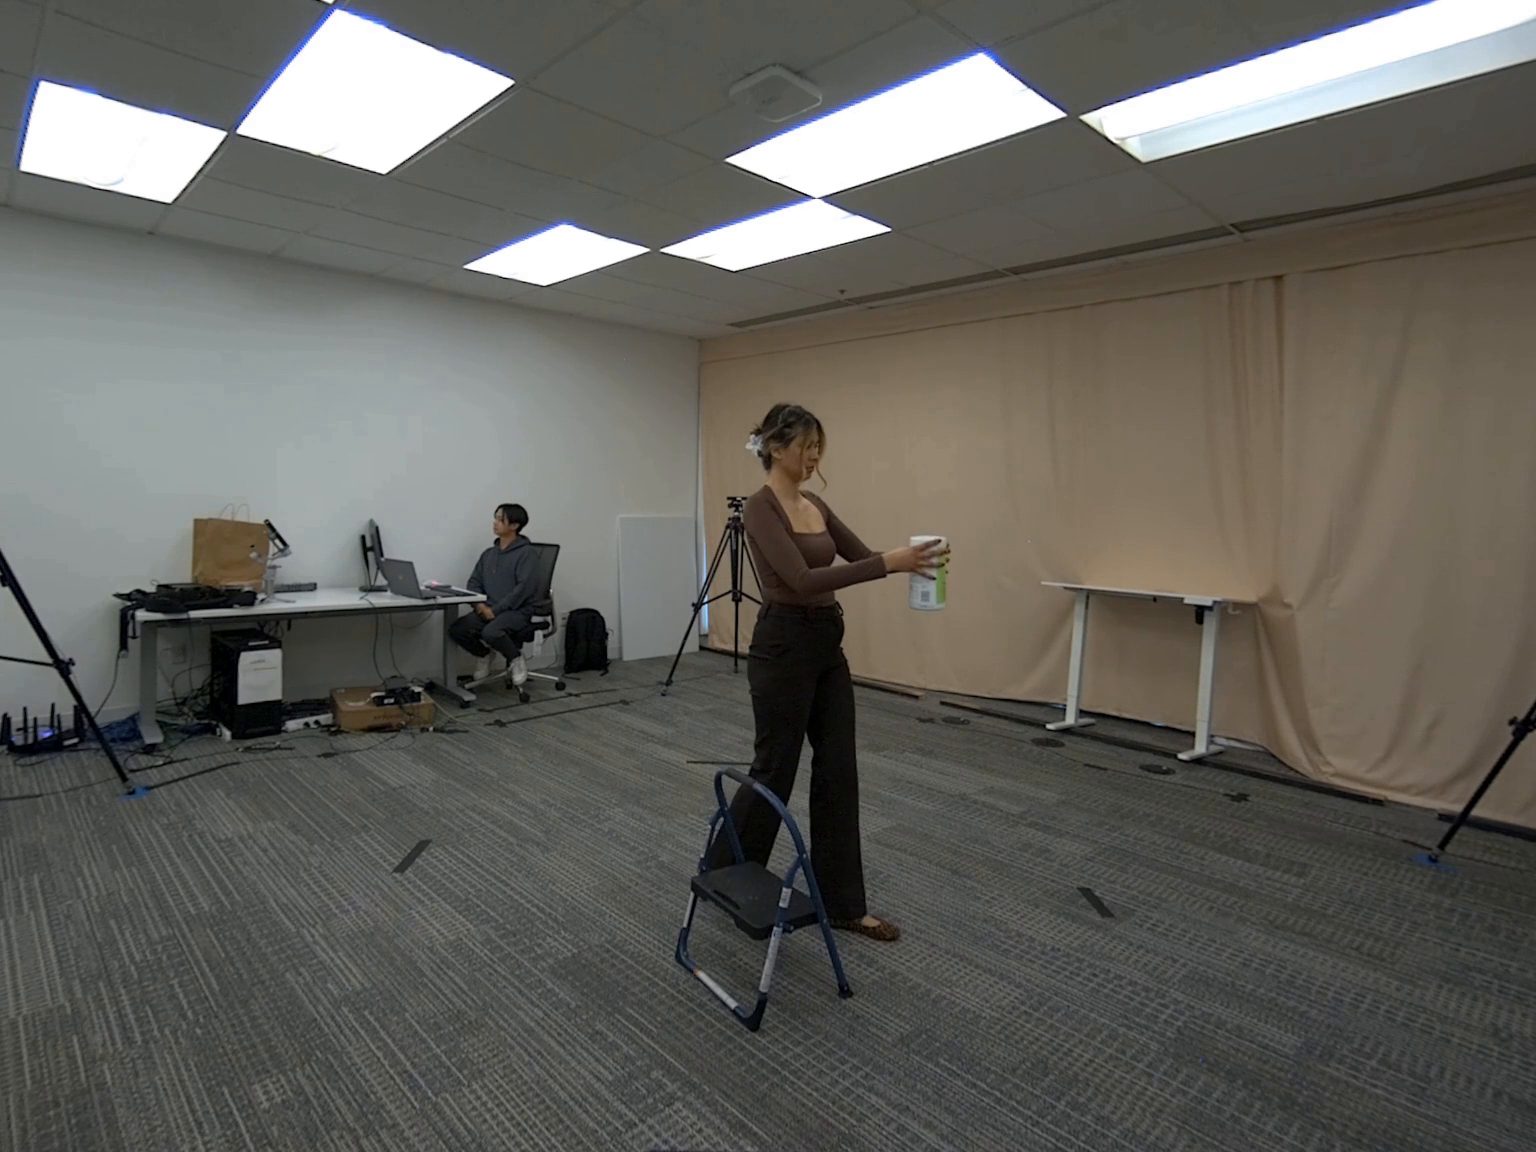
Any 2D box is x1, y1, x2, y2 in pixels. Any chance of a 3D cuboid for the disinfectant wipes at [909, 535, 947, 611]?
[{"bbox_3d":[0.465,-0.018,2.539,0.118,0.217,0.118,-1,5,-1],"label":"disinfectant wipes"}]
